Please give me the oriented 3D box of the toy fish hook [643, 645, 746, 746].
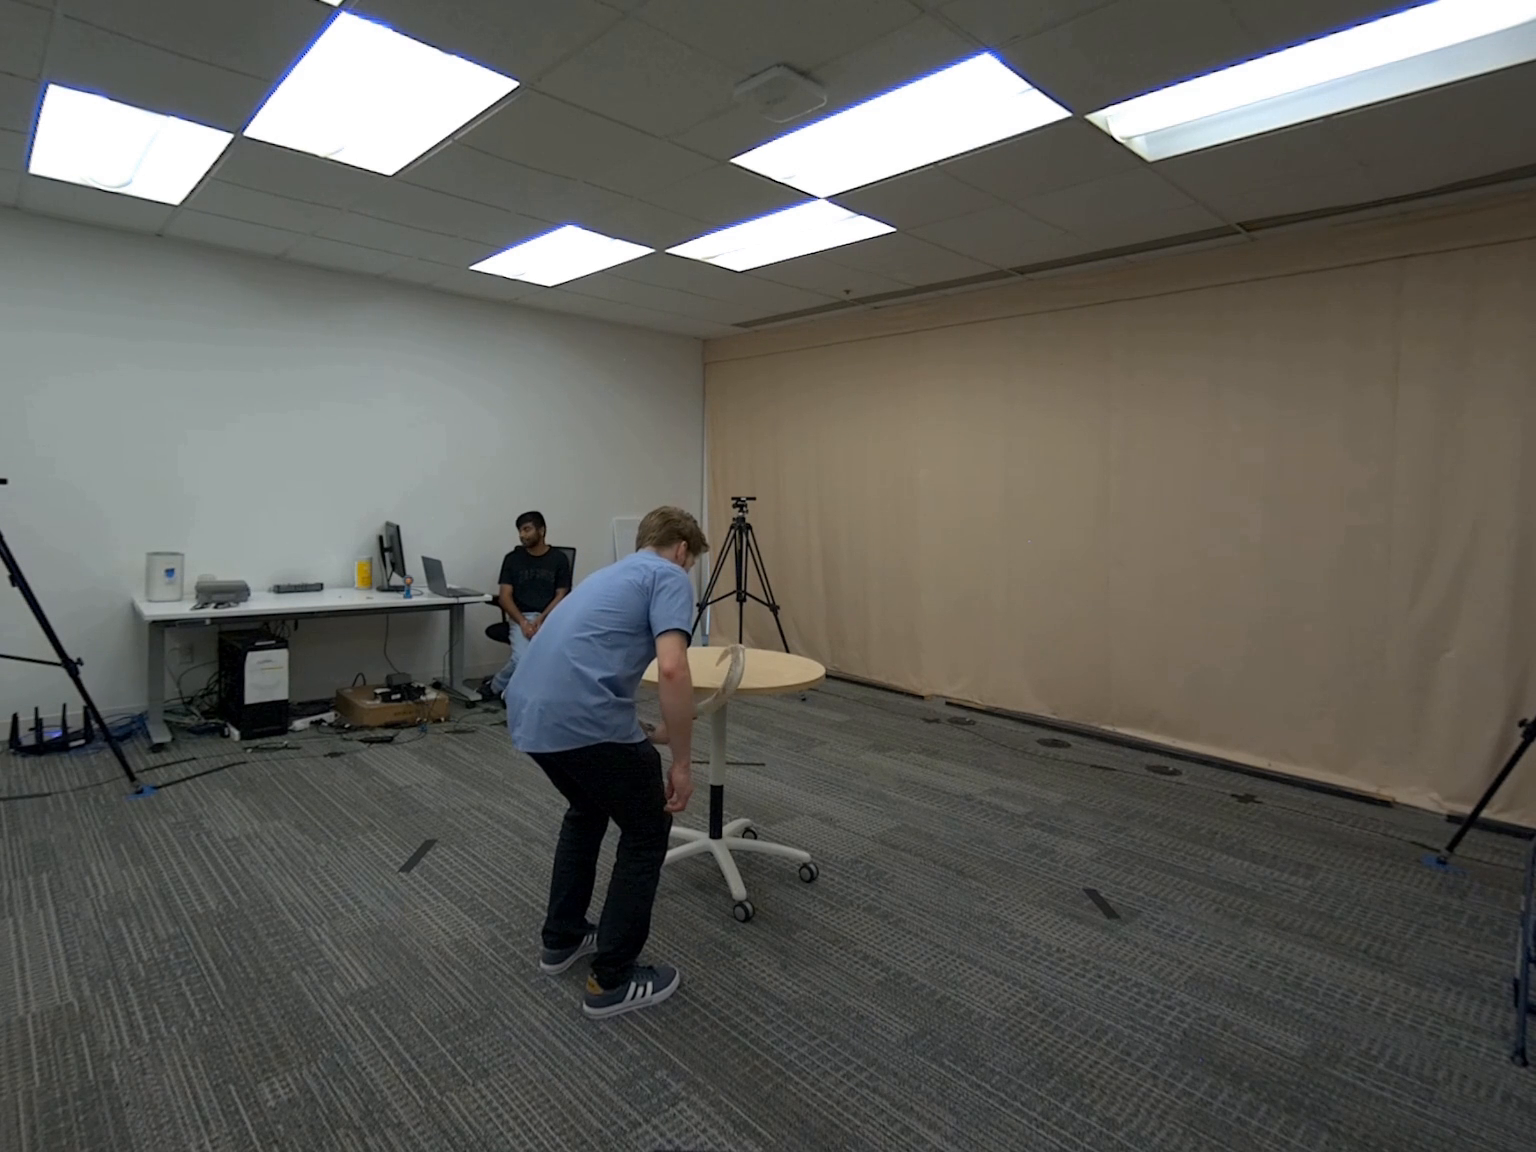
[{"bbox_3d":[-0.216,0.390,2.739,0.047,0.228,0.506,32,-49,-15],"label":"toy fish hook"}]
